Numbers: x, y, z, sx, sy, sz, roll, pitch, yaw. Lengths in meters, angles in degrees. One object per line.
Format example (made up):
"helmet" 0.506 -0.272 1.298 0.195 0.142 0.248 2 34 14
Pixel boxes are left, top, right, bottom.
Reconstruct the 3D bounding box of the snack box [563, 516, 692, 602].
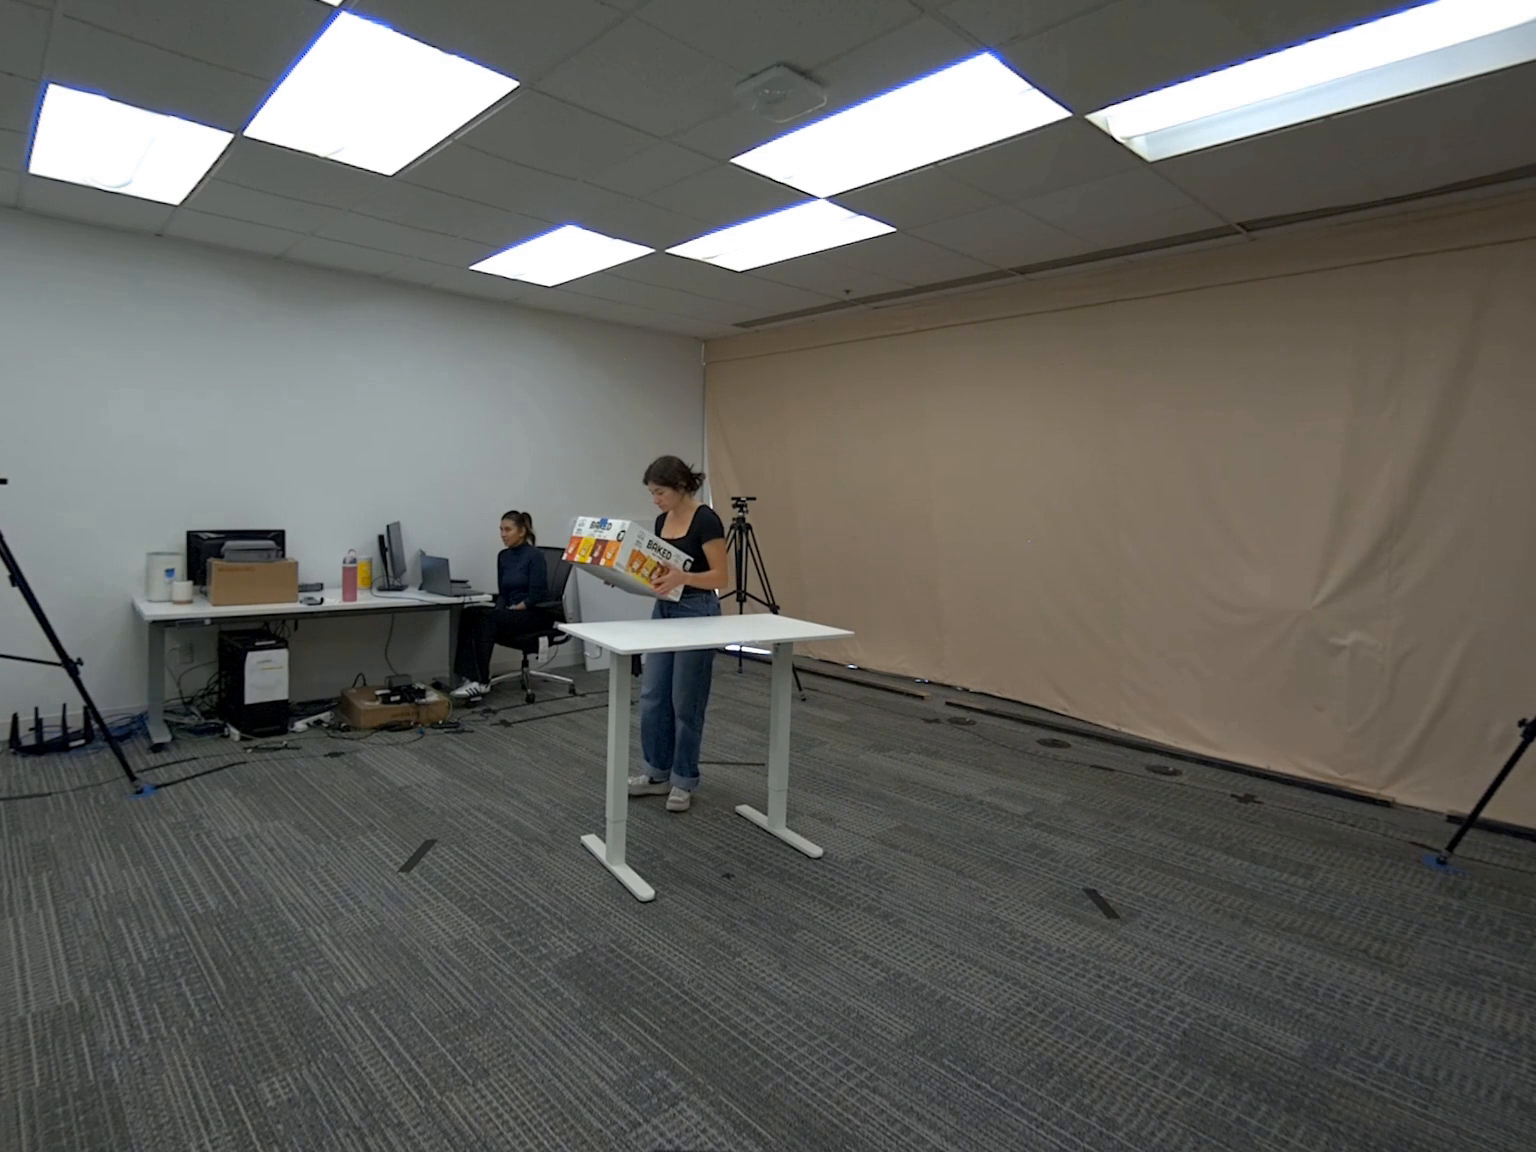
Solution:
"snack box" -0.602 -0.074 3.582 0.349 0.207 0.392 8 -18 41
